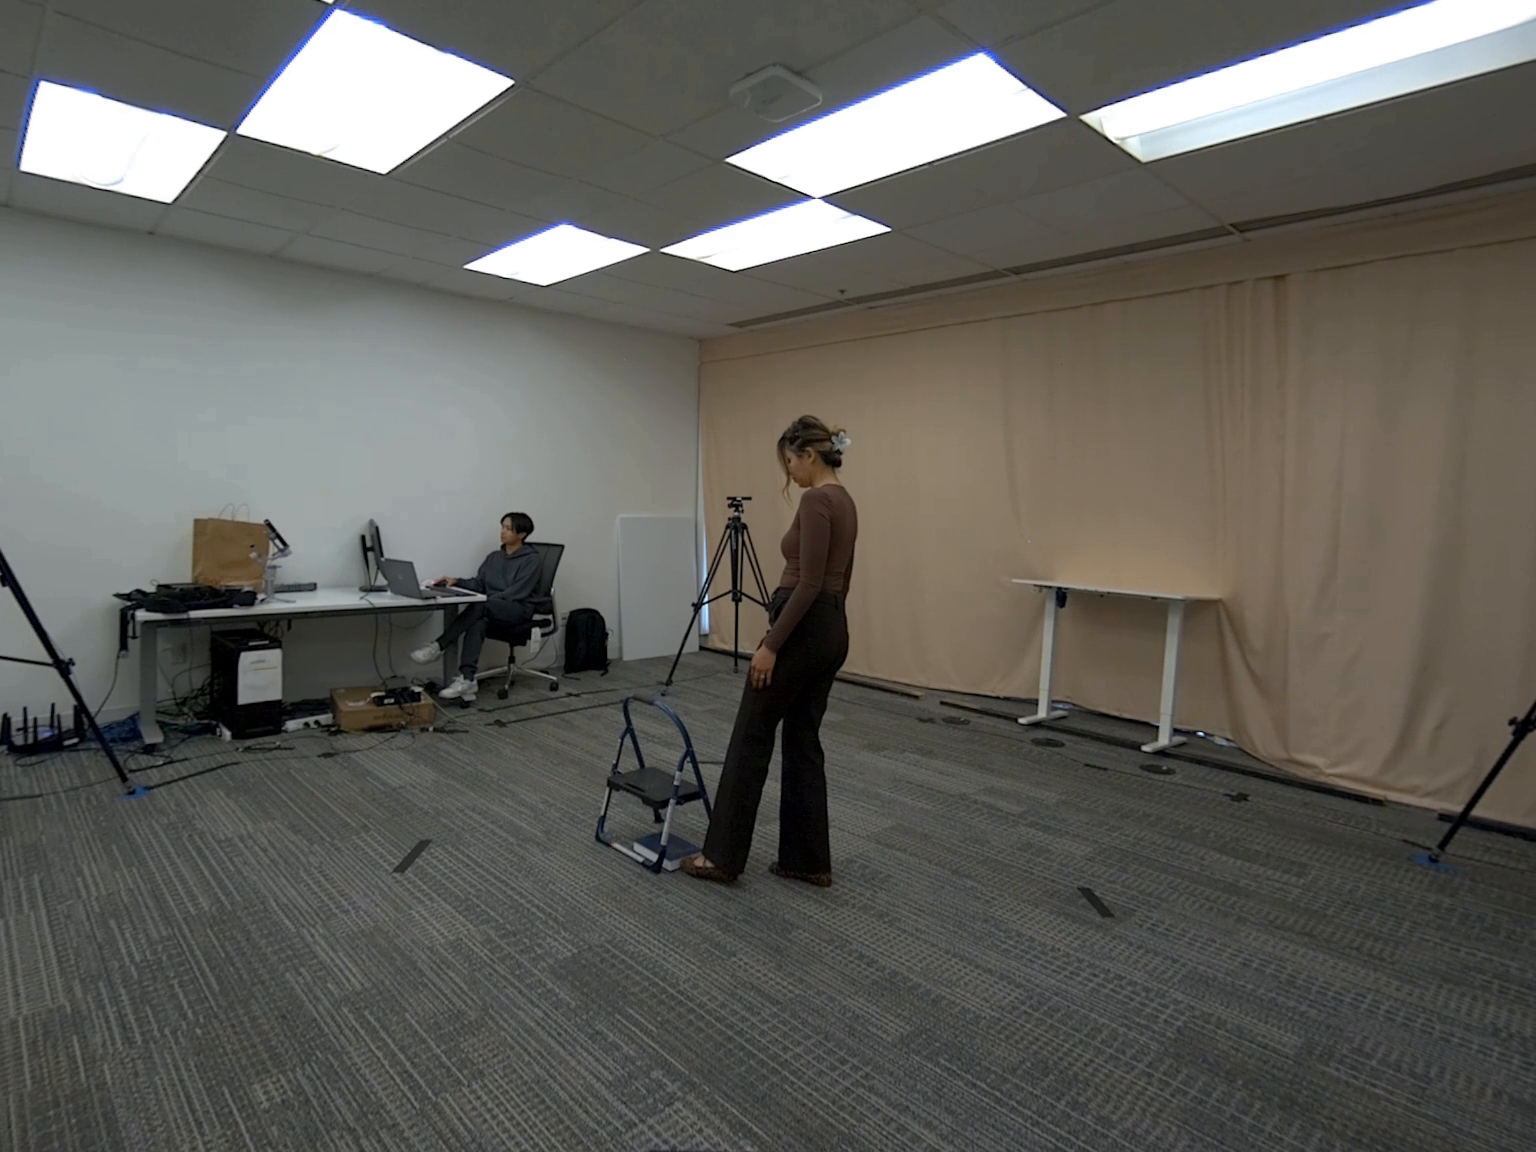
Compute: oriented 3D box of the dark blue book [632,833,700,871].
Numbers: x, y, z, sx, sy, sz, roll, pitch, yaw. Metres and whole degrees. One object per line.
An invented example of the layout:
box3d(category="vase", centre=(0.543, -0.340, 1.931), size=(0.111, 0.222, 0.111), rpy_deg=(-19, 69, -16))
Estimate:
box3d(category="dark blue book", centre=(-0.390, 1.059, 3.260), size=(0.160, 0.045, 0.251), rpy_deg=(-4, 7, -42))
